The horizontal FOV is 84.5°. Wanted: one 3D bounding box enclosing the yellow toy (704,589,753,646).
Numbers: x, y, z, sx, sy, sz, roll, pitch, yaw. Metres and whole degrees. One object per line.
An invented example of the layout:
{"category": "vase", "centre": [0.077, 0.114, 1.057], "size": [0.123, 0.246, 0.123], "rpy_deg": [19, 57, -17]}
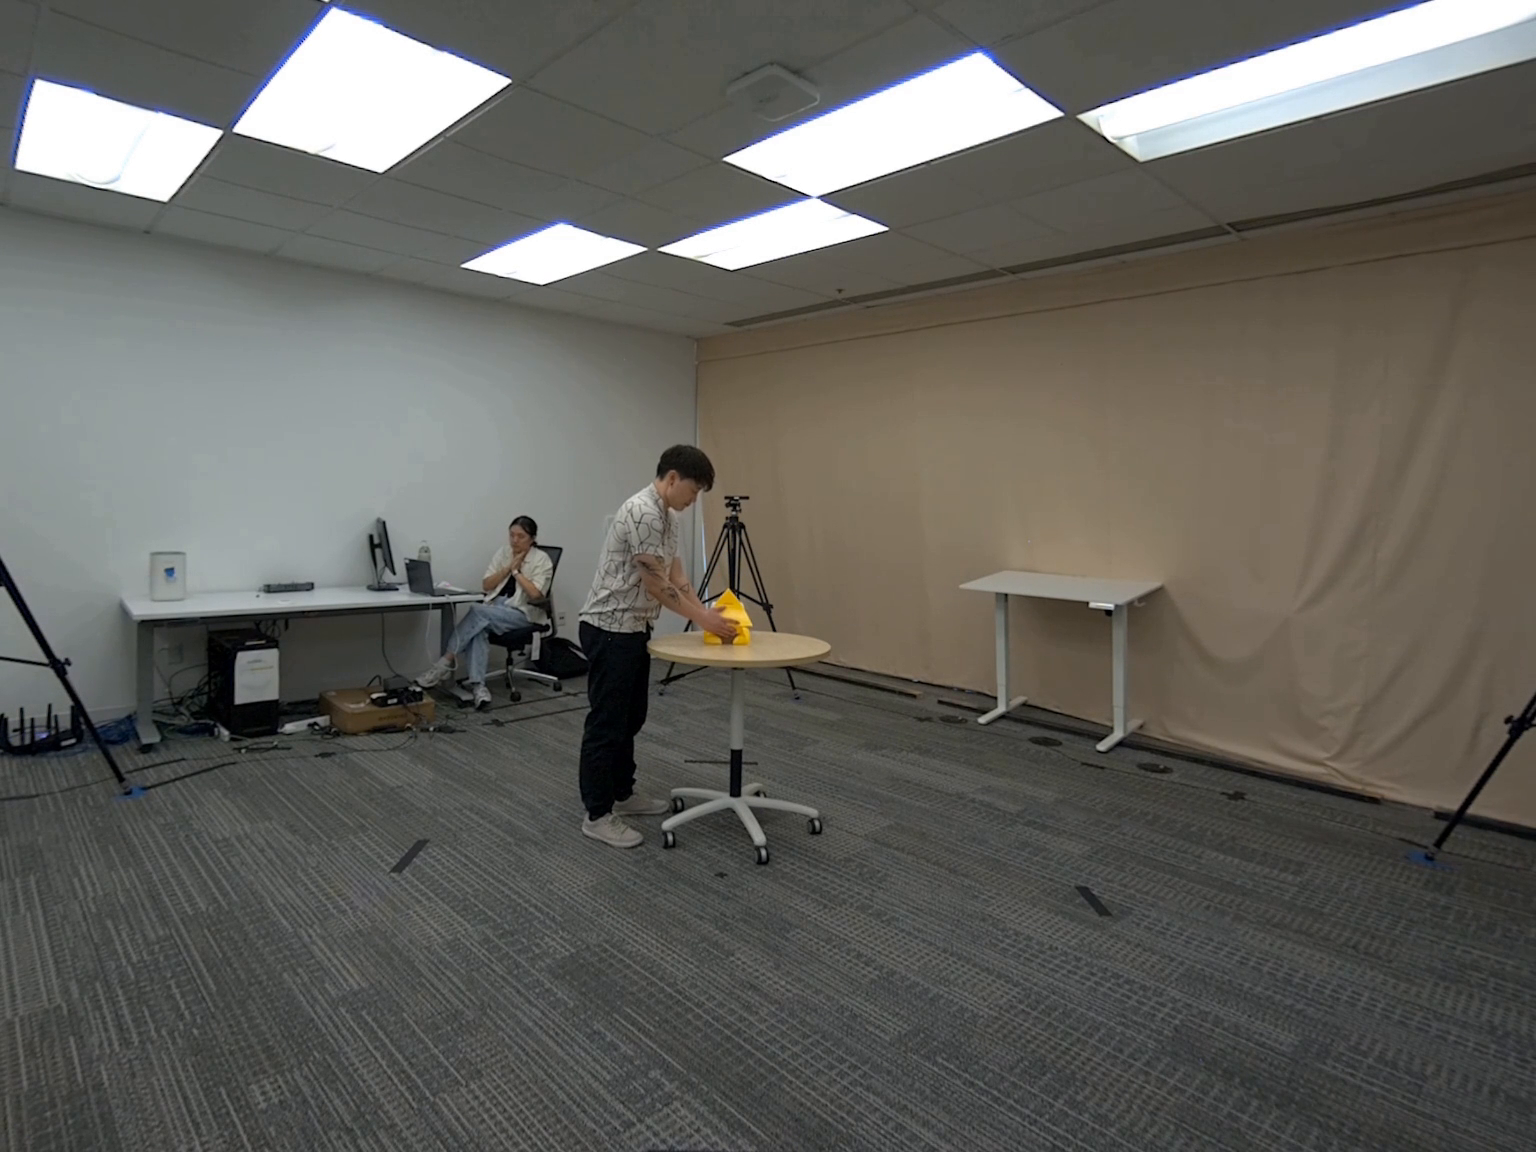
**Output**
{"category": "yellow toy", "centre": [-0.185, 0.157, 3.567], "size": [0.204, 0.230, 0.194], "rpy_deg": [0, 5, -4]}
